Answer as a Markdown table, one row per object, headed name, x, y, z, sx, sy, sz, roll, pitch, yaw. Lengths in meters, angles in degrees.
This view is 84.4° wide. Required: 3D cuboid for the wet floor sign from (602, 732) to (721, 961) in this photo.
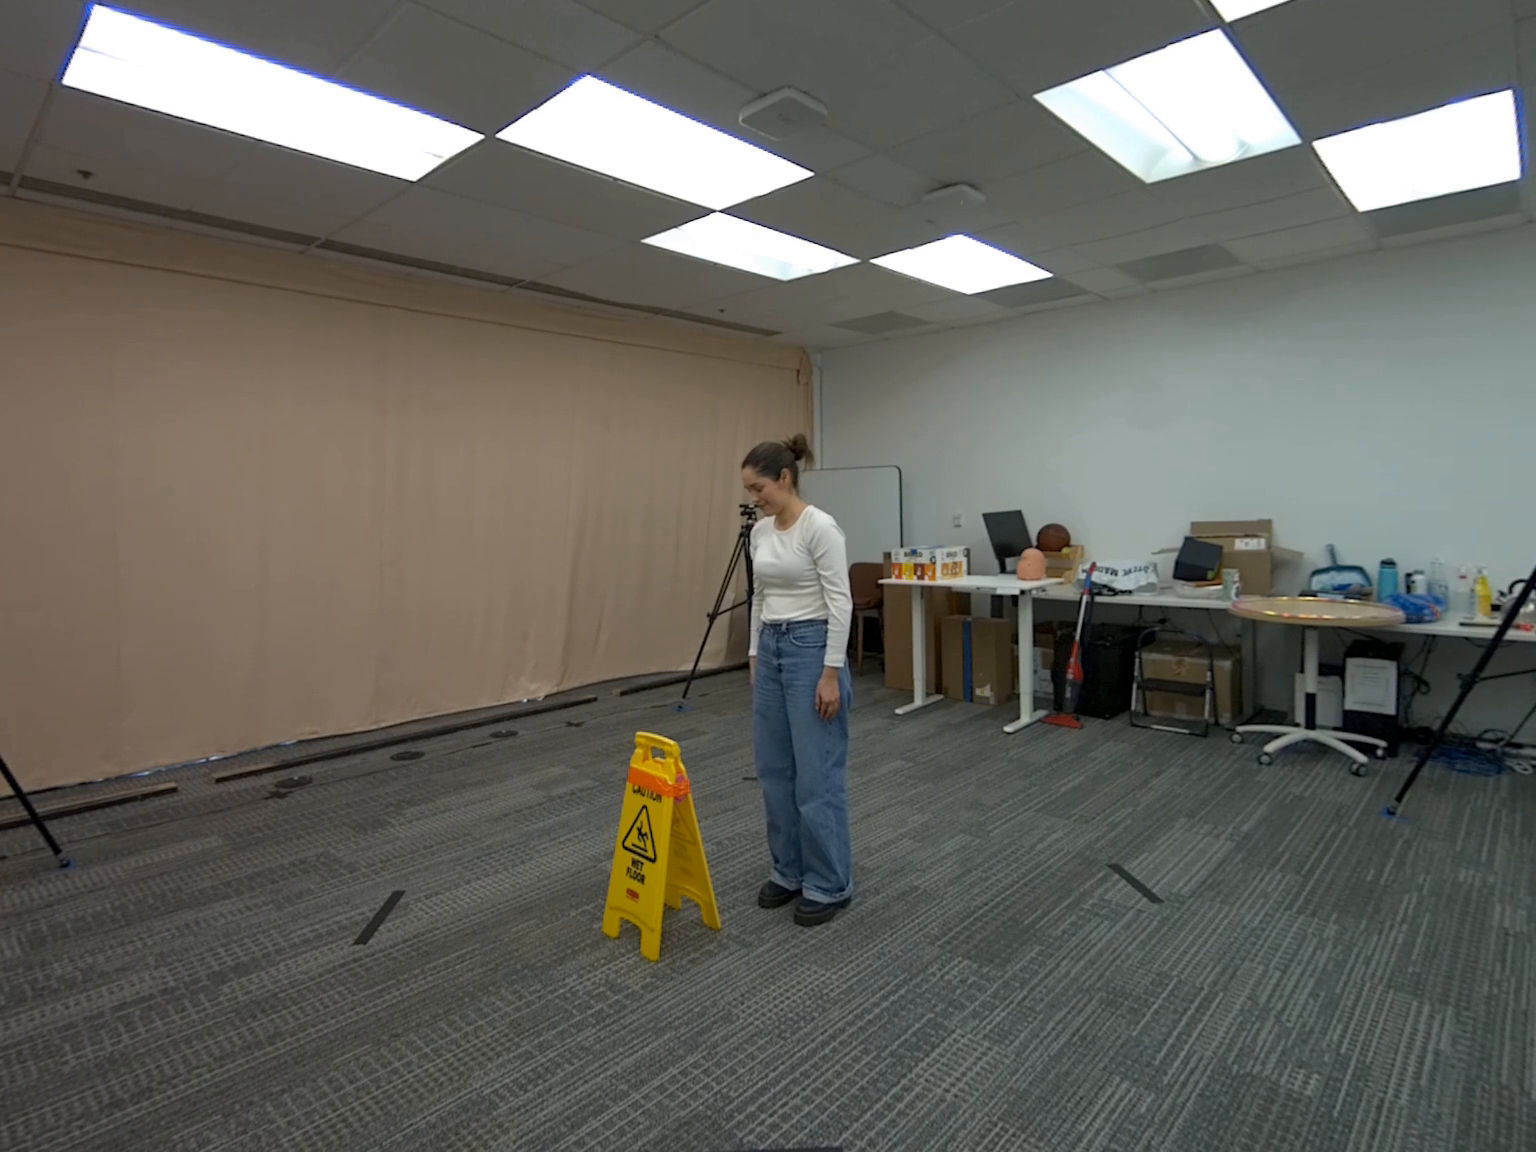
| name | x | y | z | sx | sy | sz | roll | pitch | yaw |
| --- | --- | --- | --- | --- | --- | --- | --- | --- | --- |
| wet floor sign | -0.348 | 0.843 | 2.755 | 0.281 | 0.645 | 0.291 | -3 | 4 | -44 |
